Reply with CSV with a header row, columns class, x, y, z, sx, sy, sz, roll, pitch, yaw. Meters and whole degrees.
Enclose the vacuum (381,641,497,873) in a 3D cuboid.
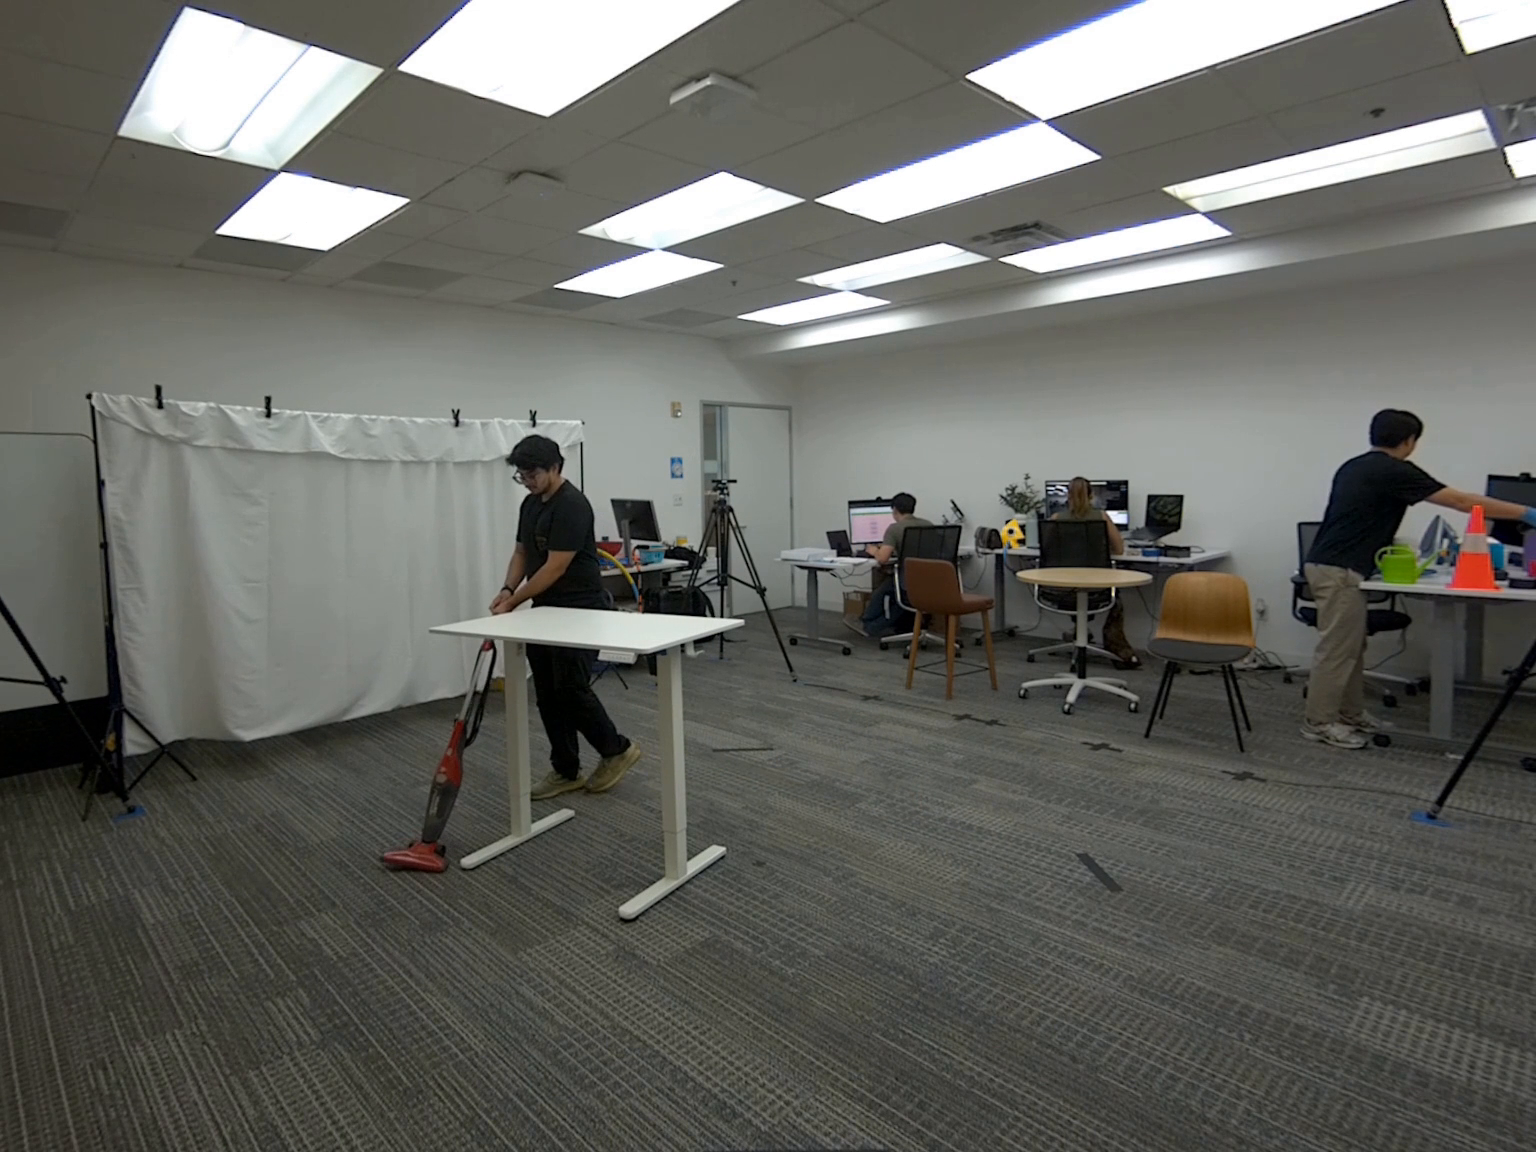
class,x,y,z,sx,sy,sz,roll,pitch,yaw
vacuum,-1.219,0.593,3.432,0.254,1.070,0.140,4,-30,6
